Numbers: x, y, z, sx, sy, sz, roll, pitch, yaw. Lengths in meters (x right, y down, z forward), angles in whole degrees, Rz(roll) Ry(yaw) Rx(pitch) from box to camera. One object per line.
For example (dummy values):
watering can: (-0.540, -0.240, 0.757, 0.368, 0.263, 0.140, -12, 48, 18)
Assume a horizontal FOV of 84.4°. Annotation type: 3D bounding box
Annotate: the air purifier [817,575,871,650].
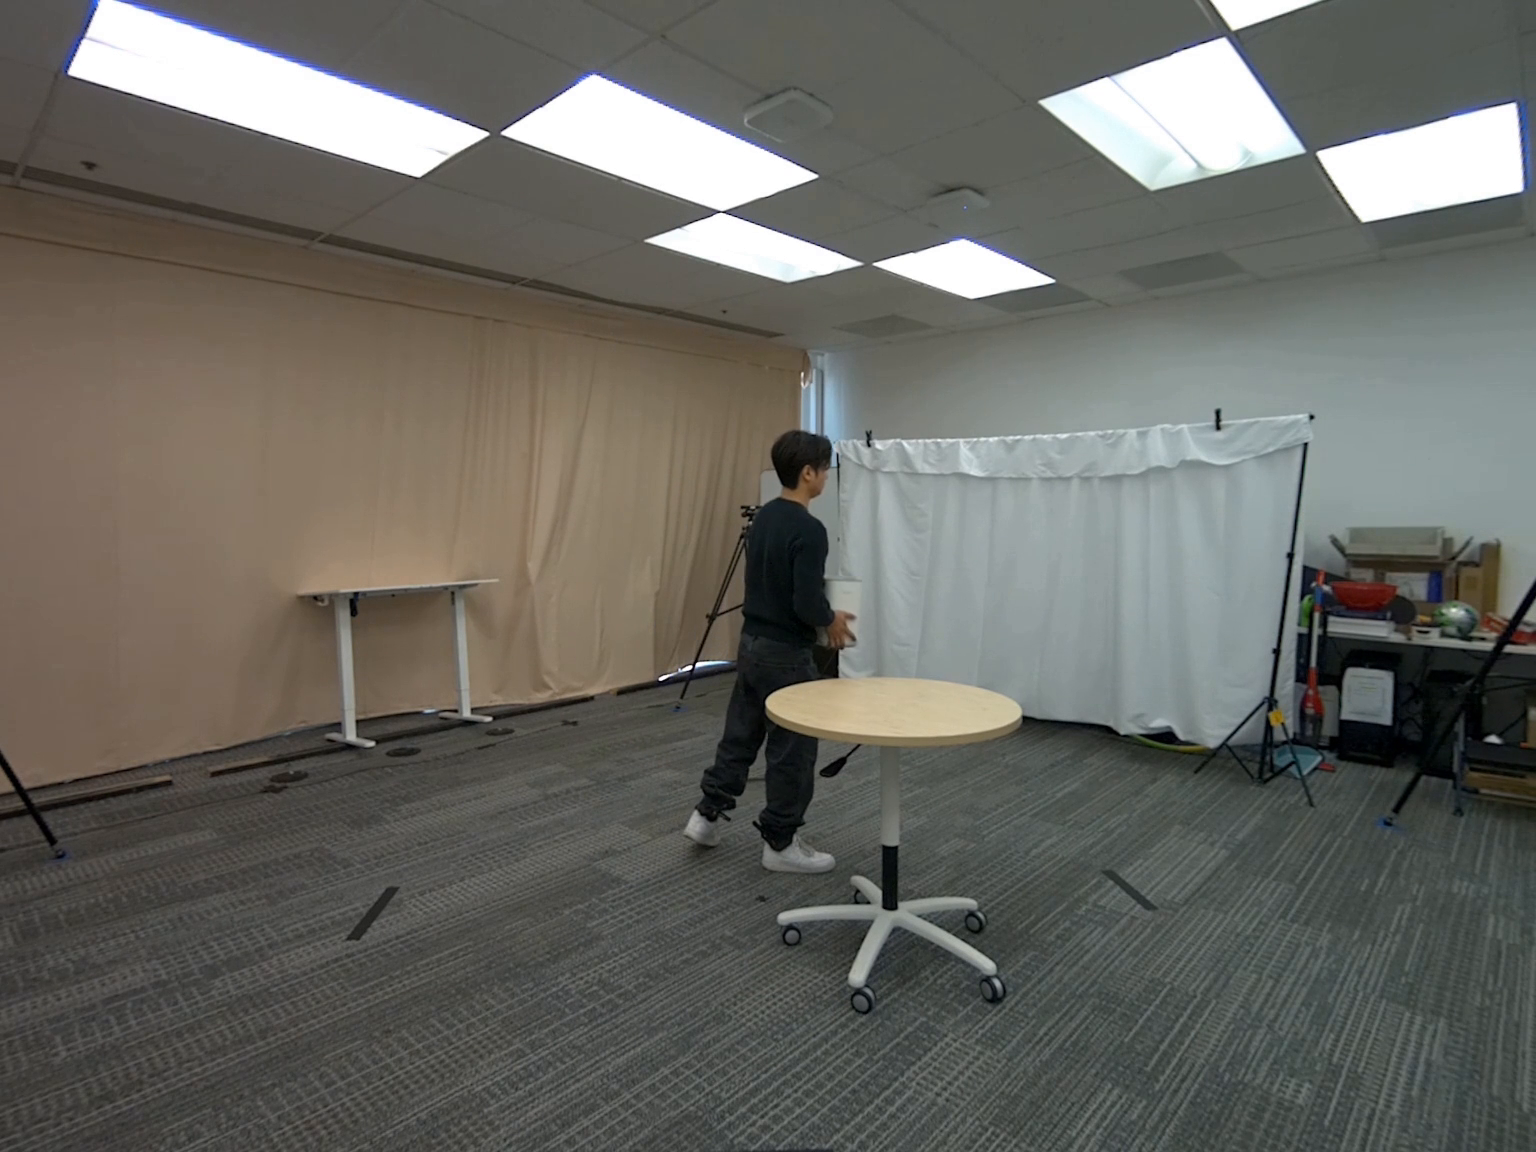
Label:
air purifier: (0.269, 0.137, 3.290, 0.167, 0.265, 0.175, 3, 3, -20)
